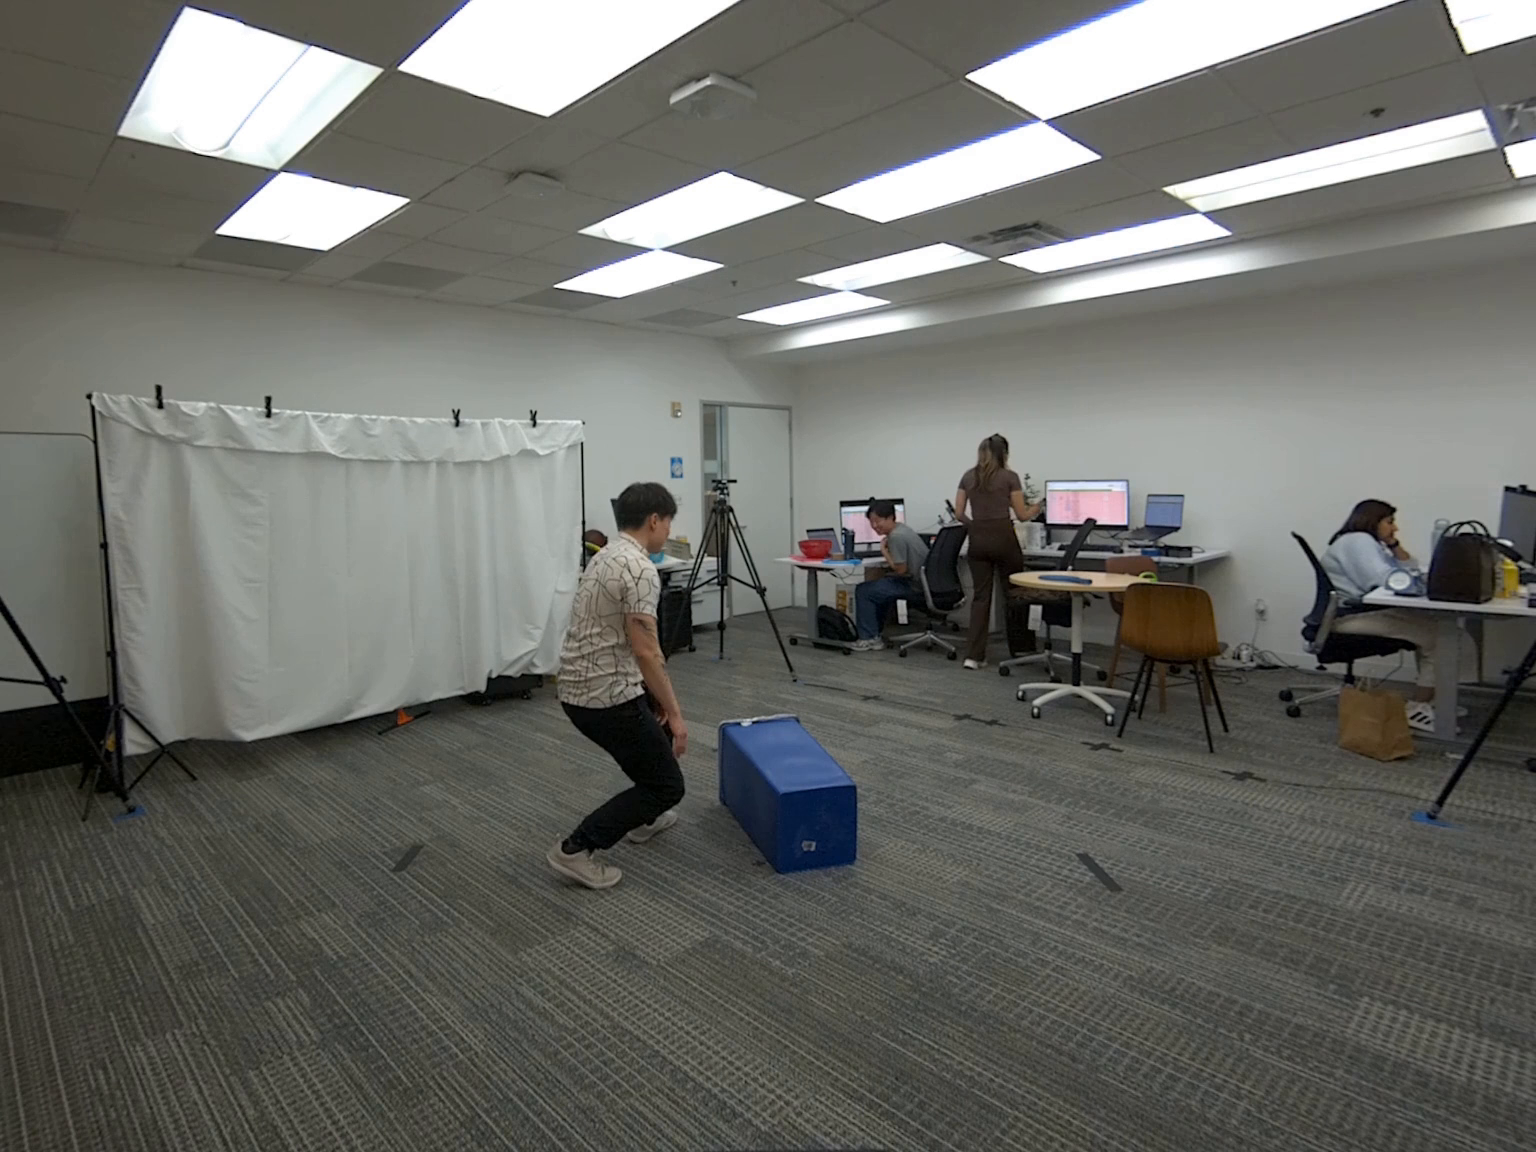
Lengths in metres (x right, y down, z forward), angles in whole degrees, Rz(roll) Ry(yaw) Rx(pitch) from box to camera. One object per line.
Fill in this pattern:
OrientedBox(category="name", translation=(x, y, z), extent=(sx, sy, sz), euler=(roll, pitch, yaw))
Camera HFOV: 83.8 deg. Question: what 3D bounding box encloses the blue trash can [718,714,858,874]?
OrientedBox(category="blue trash can", translation=(0.061, 0.846, 3.382), extent=(0.373, 0.371, 0.729), euler=(-3, 10, -16))
